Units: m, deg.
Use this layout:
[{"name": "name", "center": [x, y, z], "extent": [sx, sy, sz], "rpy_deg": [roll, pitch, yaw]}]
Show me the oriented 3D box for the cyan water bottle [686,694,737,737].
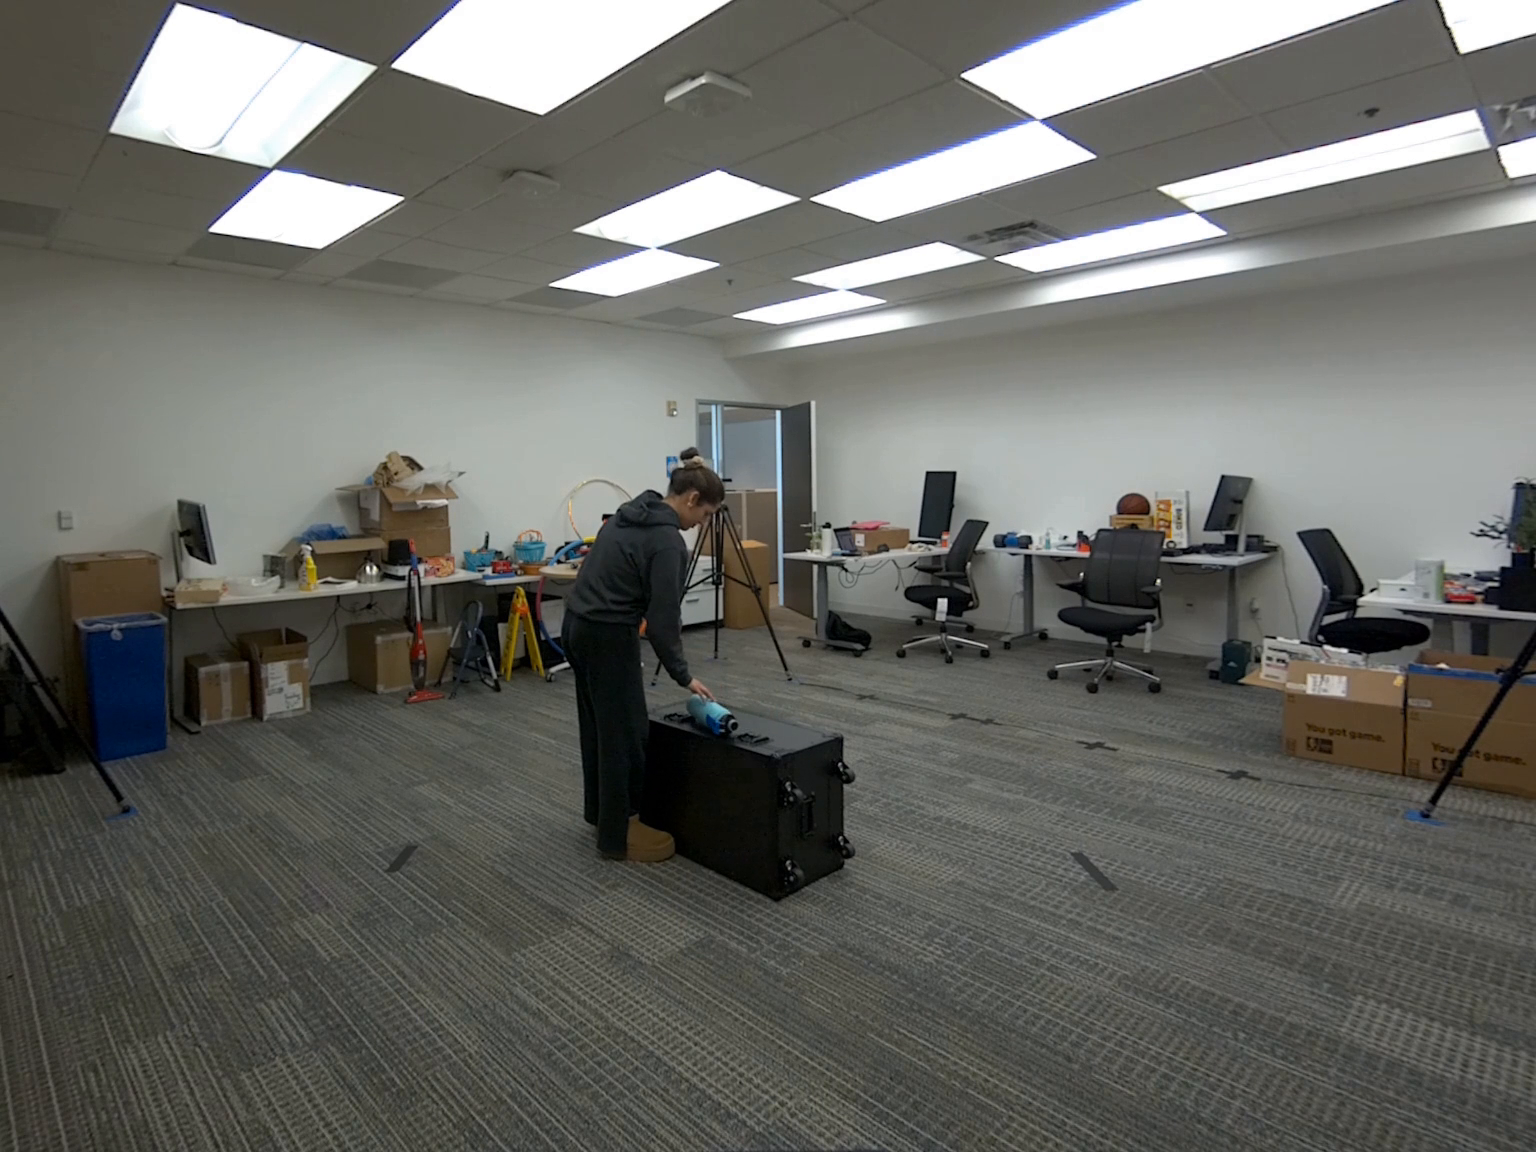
[{"name": "cyan water bottle", "center": [-0.198, 0.510, 3.129], "extent": [0.090, 0.091, 0.292], "rpy_deg": [-3, 10, -28]}]
